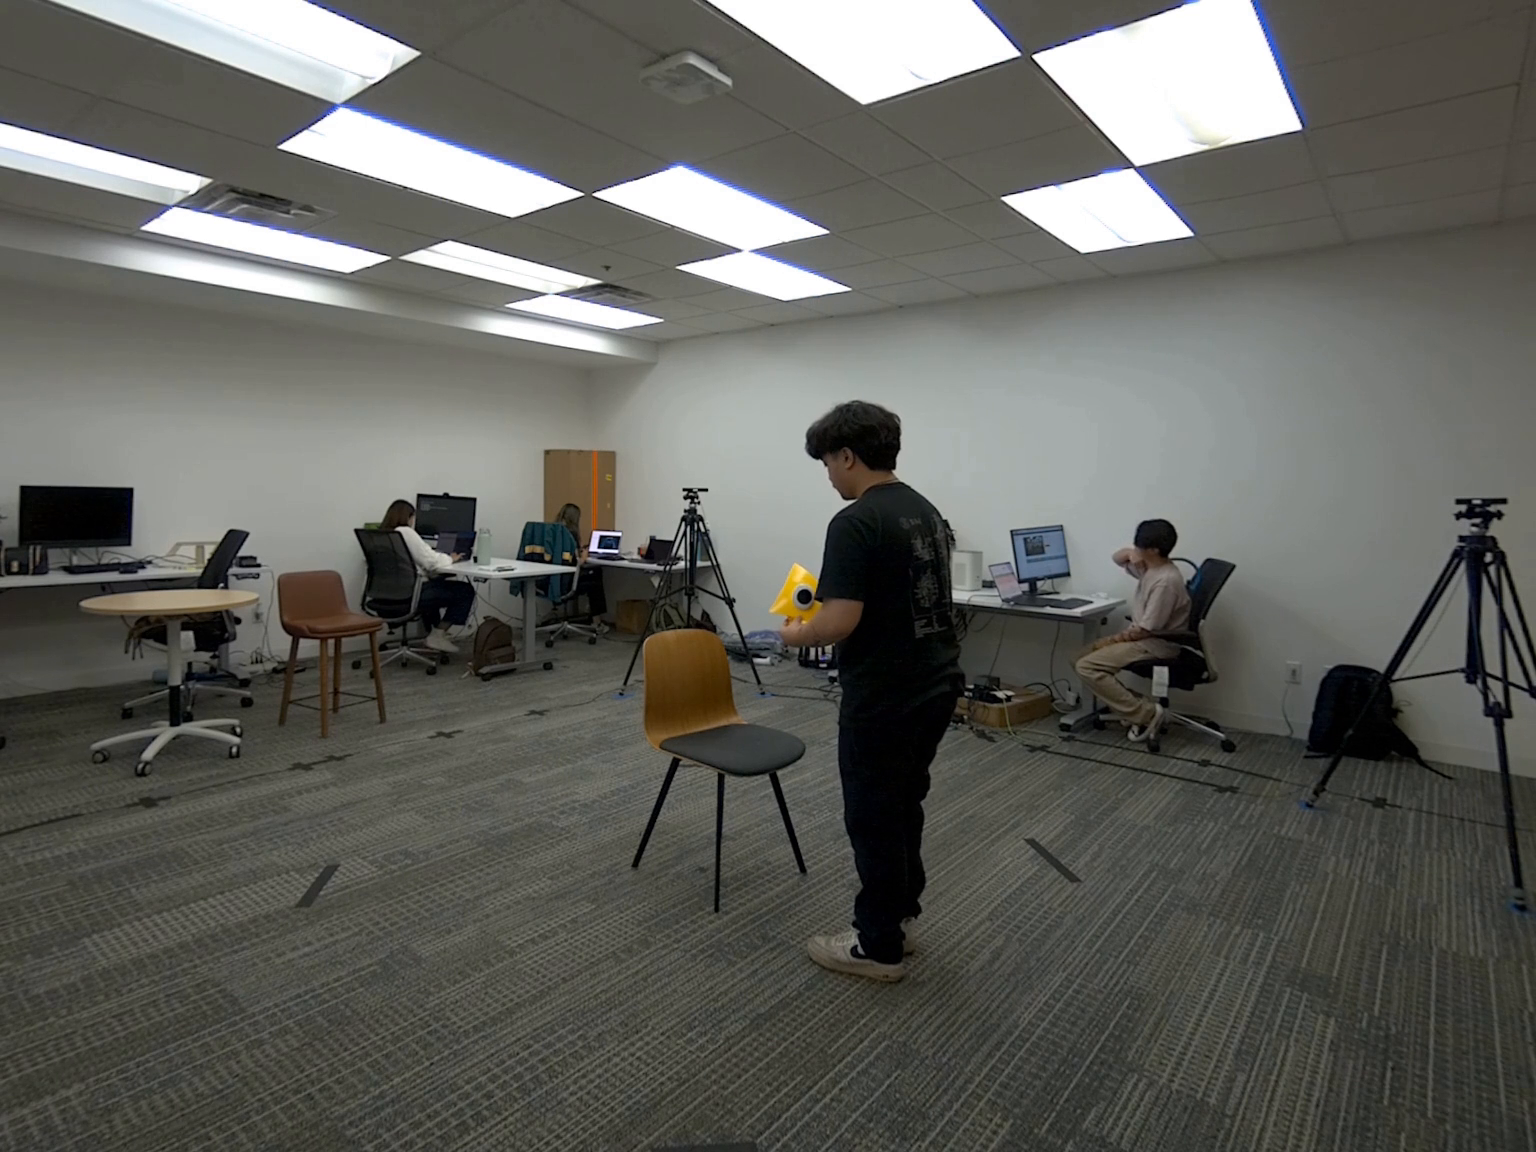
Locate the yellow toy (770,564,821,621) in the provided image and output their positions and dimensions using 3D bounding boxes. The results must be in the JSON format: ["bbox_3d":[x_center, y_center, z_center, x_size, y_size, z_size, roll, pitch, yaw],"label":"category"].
[{"bbox_3d":[0.132,0.073,2.658,0.199,0.231,0.199,1,0,32],"label":"yellow toy"}]
